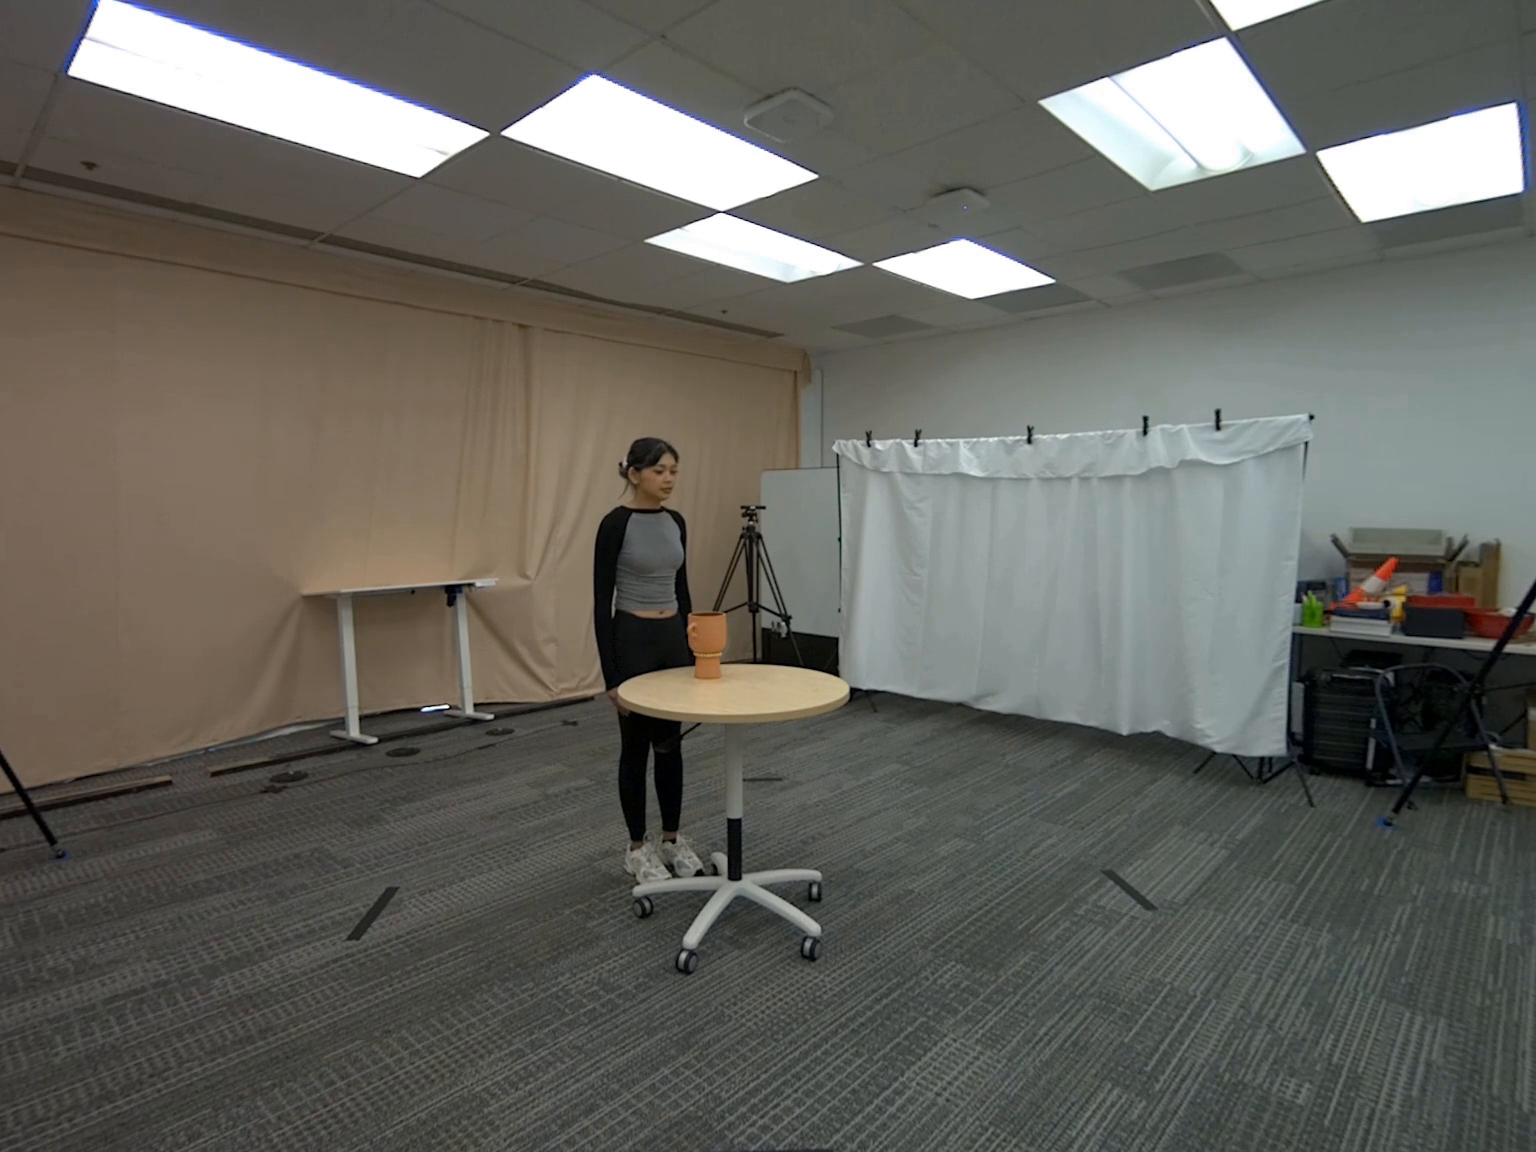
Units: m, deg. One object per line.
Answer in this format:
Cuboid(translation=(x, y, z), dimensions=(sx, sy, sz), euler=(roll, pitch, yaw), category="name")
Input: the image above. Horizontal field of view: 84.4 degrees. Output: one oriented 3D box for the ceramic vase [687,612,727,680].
Cuboid(translation=(-0.212, 0.247, 2.956), dimensions=(0.157, 0.219, 0.136), euler=(-1, 4, -10), category="ceramic vase")
